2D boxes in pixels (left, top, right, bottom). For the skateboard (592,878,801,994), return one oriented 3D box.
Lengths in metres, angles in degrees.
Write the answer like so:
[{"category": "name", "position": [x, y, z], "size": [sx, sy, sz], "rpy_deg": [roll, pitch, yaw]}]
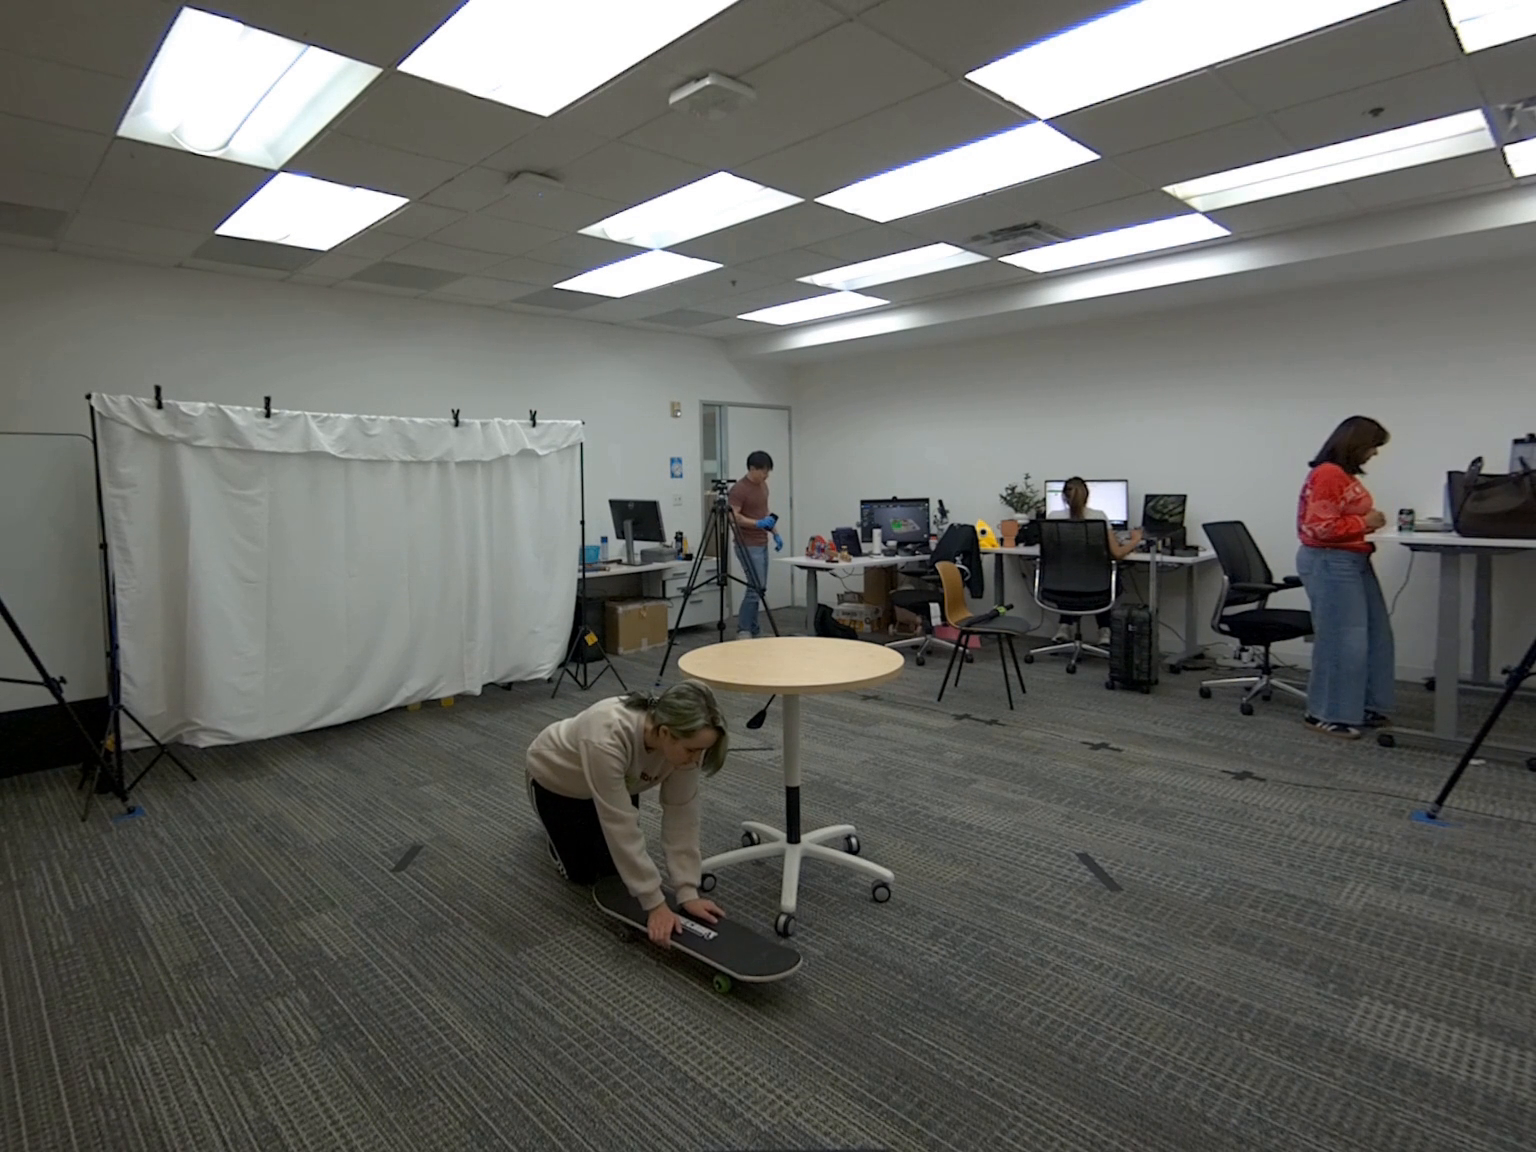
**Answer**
[{"category": "skateboard", "position": [-0.226, 1.068, 2.522], "size": [0.809, 0.110, 0.189], "rpy_deg": [3, 9, 41]}]
